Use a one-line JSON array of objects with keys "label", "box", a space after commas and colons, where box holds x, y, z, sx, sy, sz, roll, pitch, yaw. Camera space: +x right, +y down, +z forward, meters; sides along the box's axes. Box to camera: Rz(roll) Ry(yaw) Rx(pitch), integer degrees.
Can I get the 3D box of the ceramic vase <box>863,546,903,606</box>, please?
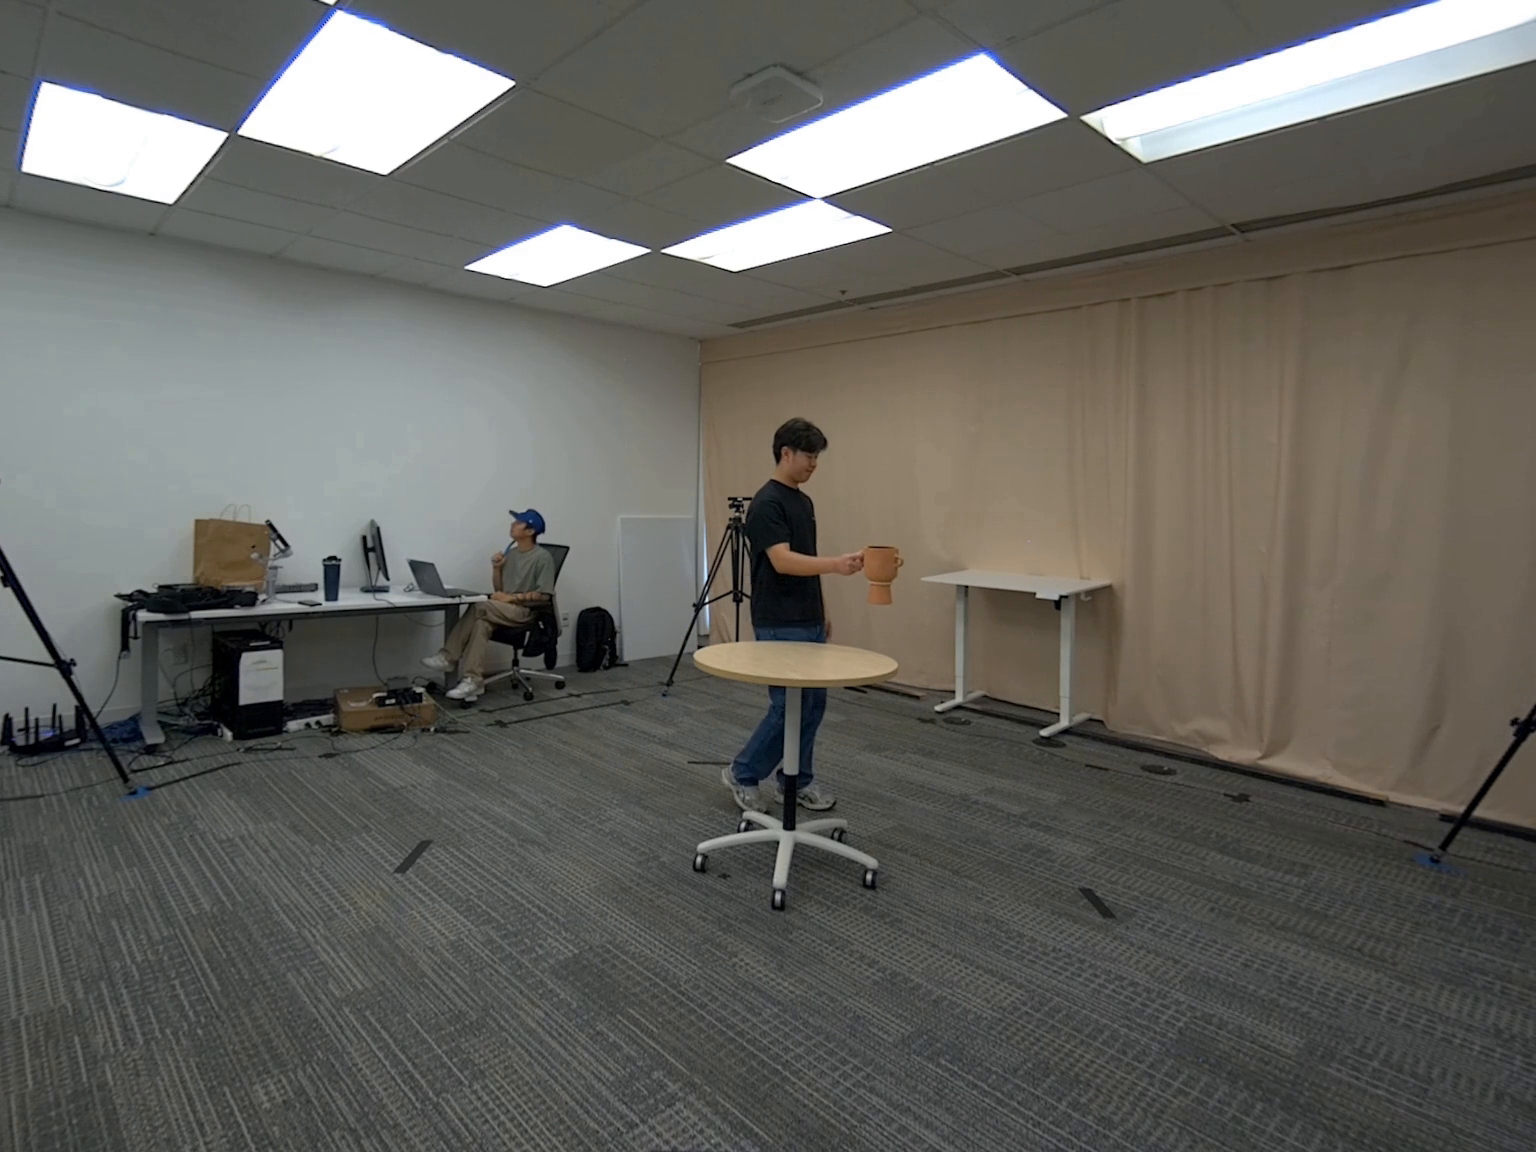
[{"label": "ceramic vase", "box": [0.439, -0.005, 3.314, 0.133, 0.219, 0.161, 0, 5, -12]}]
